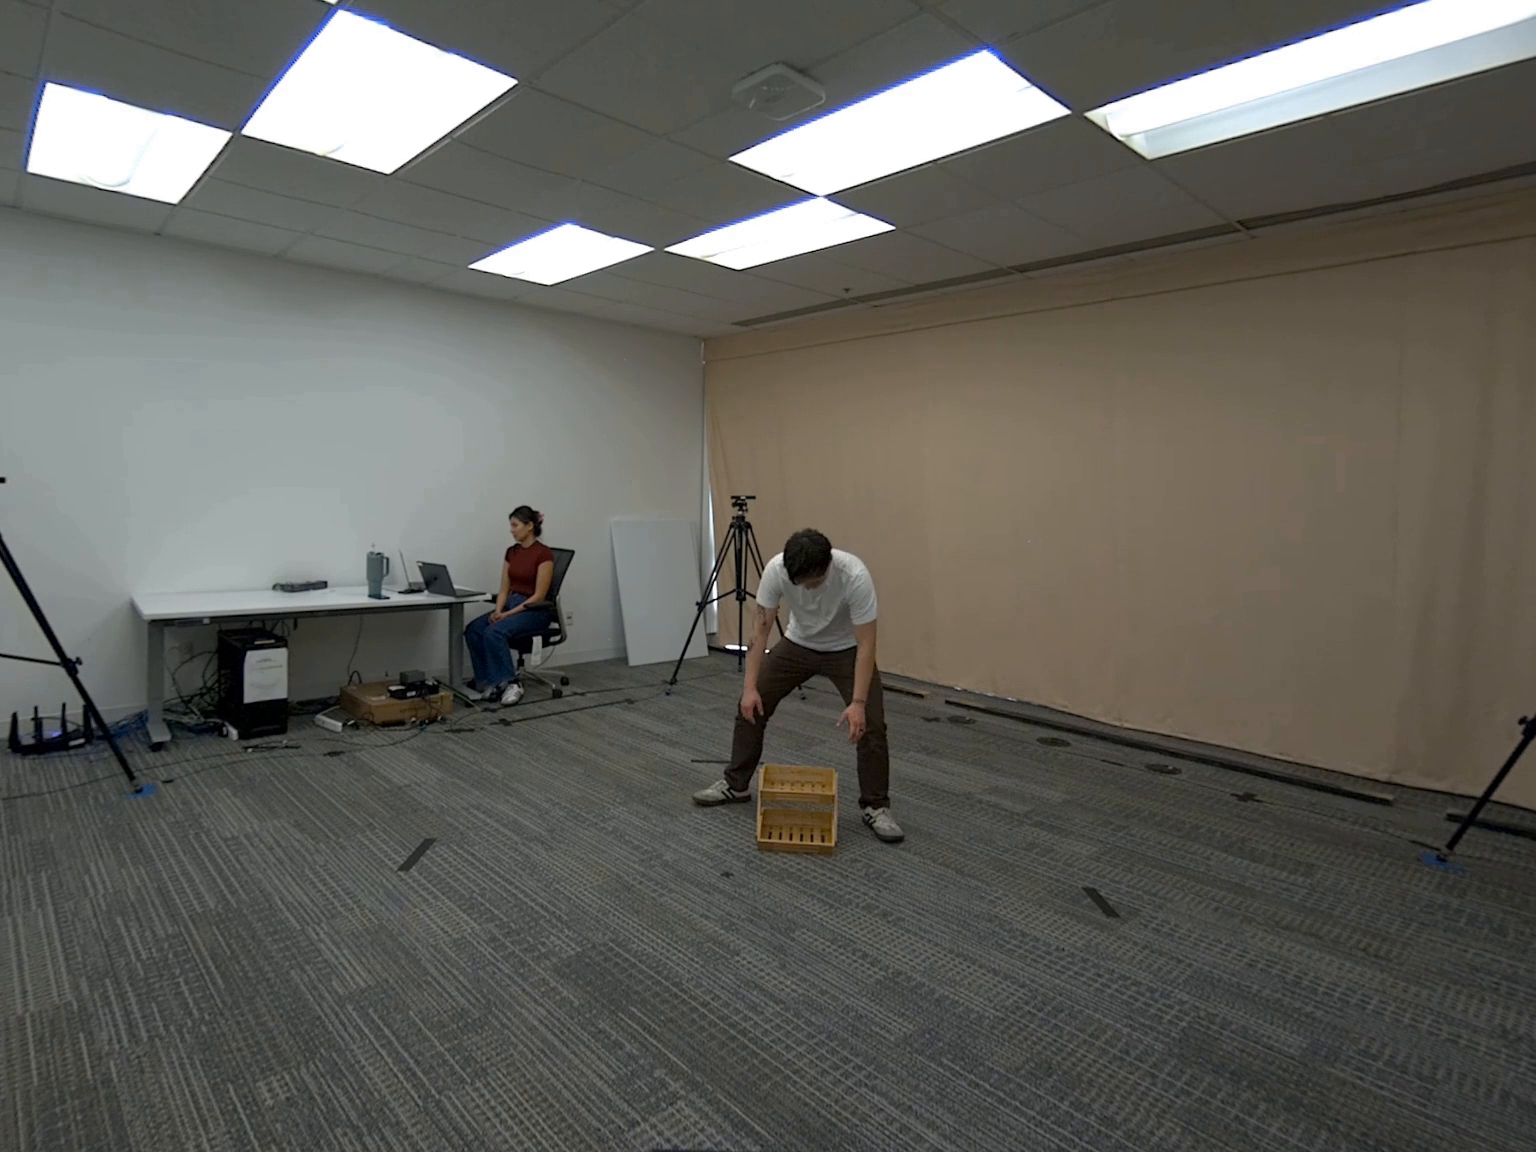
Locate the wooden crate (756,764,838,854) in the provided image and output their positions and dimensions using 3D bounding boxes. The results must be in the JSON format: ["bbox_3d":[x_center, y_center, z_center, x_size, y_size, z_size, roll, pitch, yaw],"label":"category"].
[{"bbox_3d":[0.118,0.948,3.429,0.325,0.273,0.302,1,3,3],"label":"wooden crate"}]
